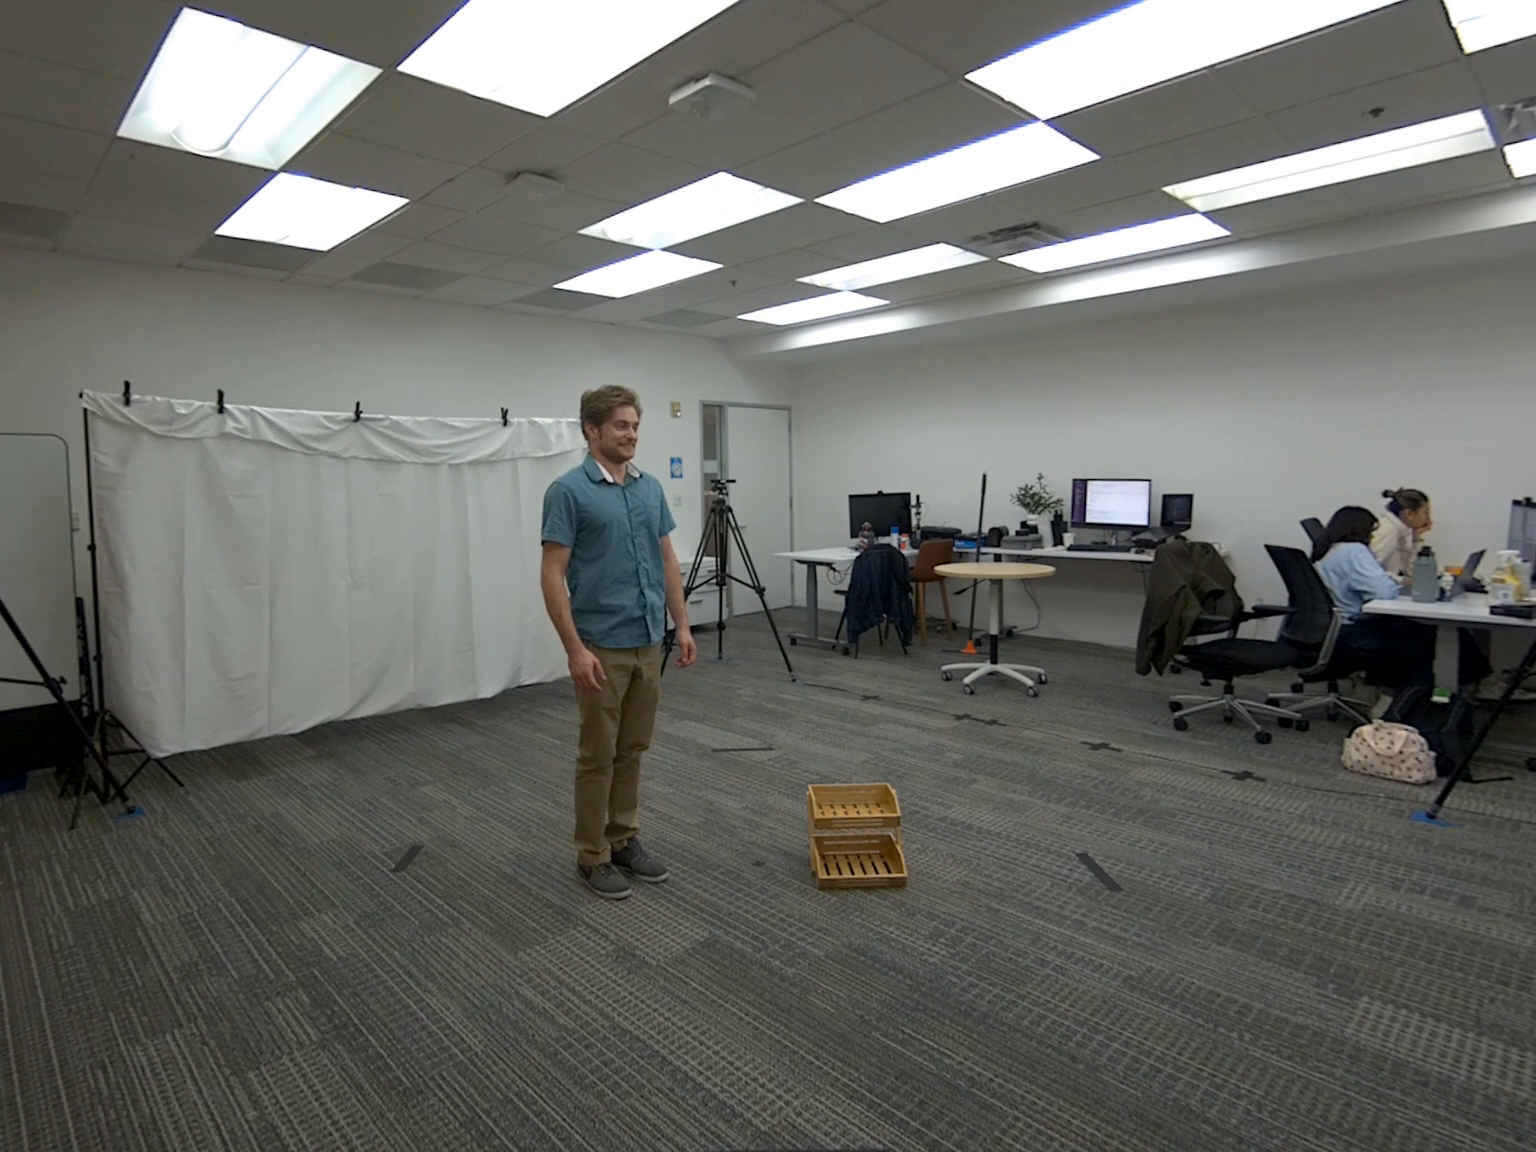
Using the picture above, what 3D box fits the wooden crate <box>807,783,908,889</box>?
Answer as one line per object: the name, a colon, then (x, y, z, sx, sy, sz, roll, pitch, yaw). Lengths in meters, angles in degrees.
wooden crate: (0.318, 0.912, 3.029, 0.324, 0.272, 0.304, -2, 4, -3)
